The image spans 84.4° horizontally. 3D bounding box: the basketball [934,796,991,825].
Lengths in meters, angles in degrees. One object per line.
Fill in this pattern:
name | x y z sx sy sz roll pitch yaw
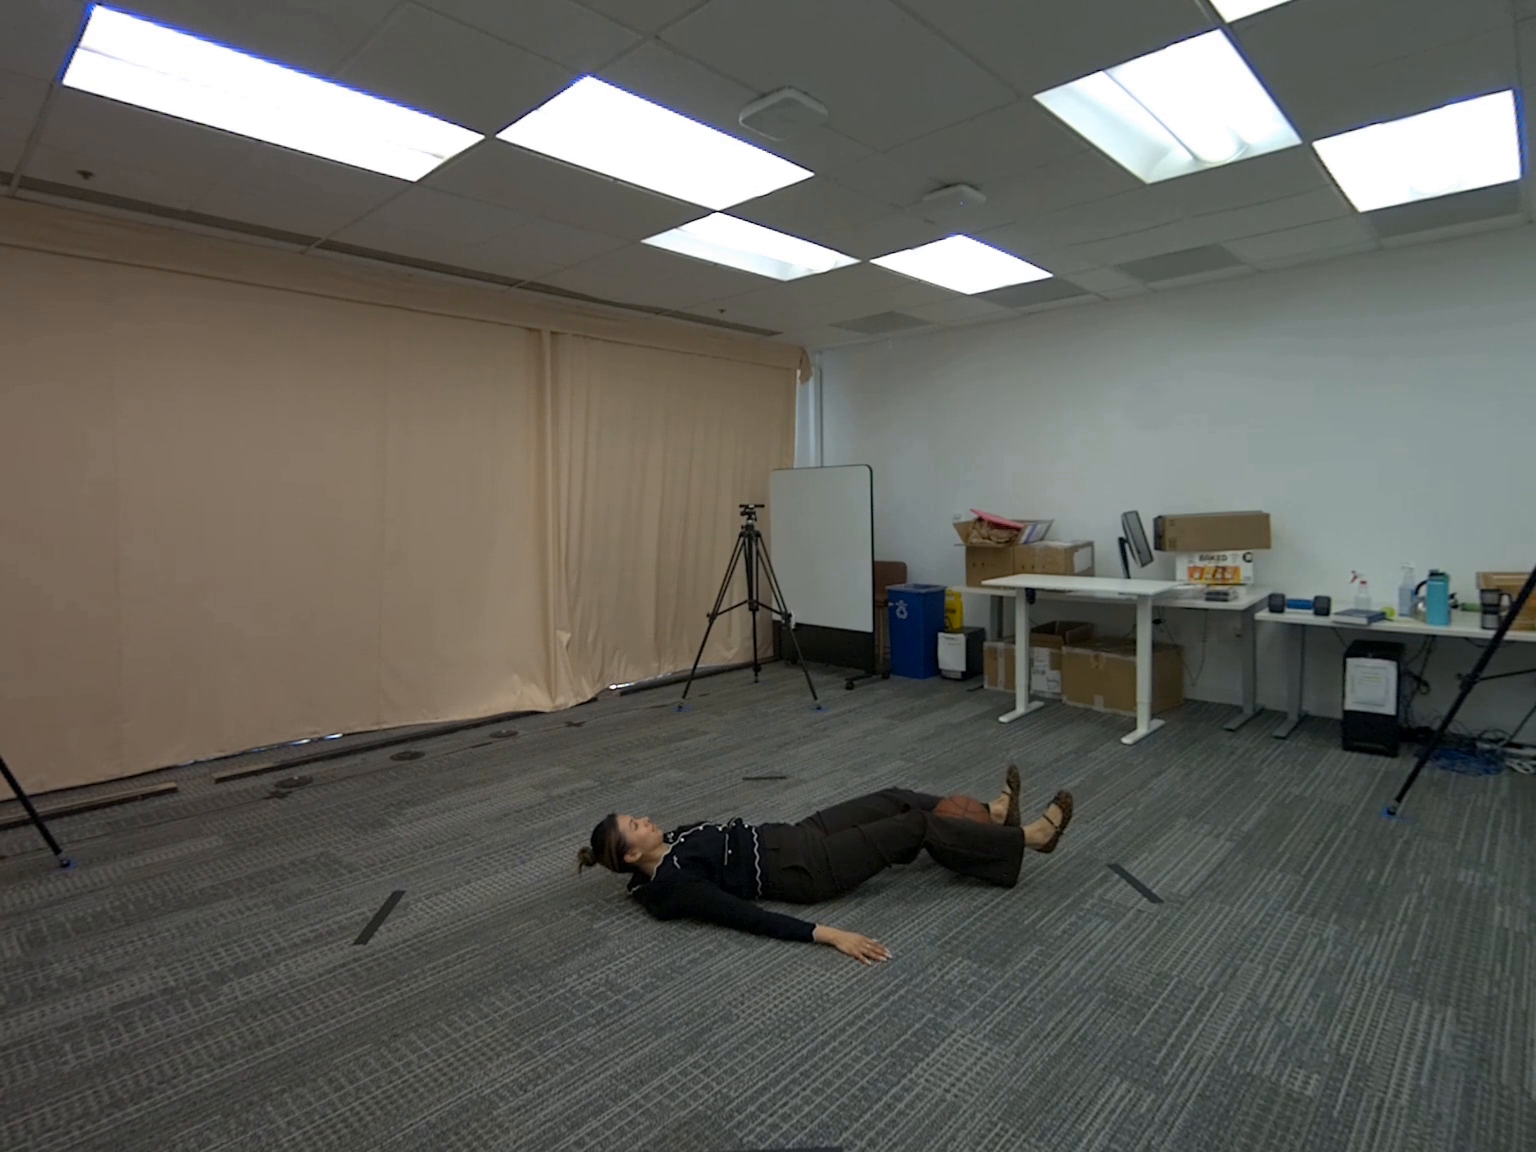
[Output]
basketball | 0.723 0.949 3.174 0.236 0.235 0.237 -1 4 -2
